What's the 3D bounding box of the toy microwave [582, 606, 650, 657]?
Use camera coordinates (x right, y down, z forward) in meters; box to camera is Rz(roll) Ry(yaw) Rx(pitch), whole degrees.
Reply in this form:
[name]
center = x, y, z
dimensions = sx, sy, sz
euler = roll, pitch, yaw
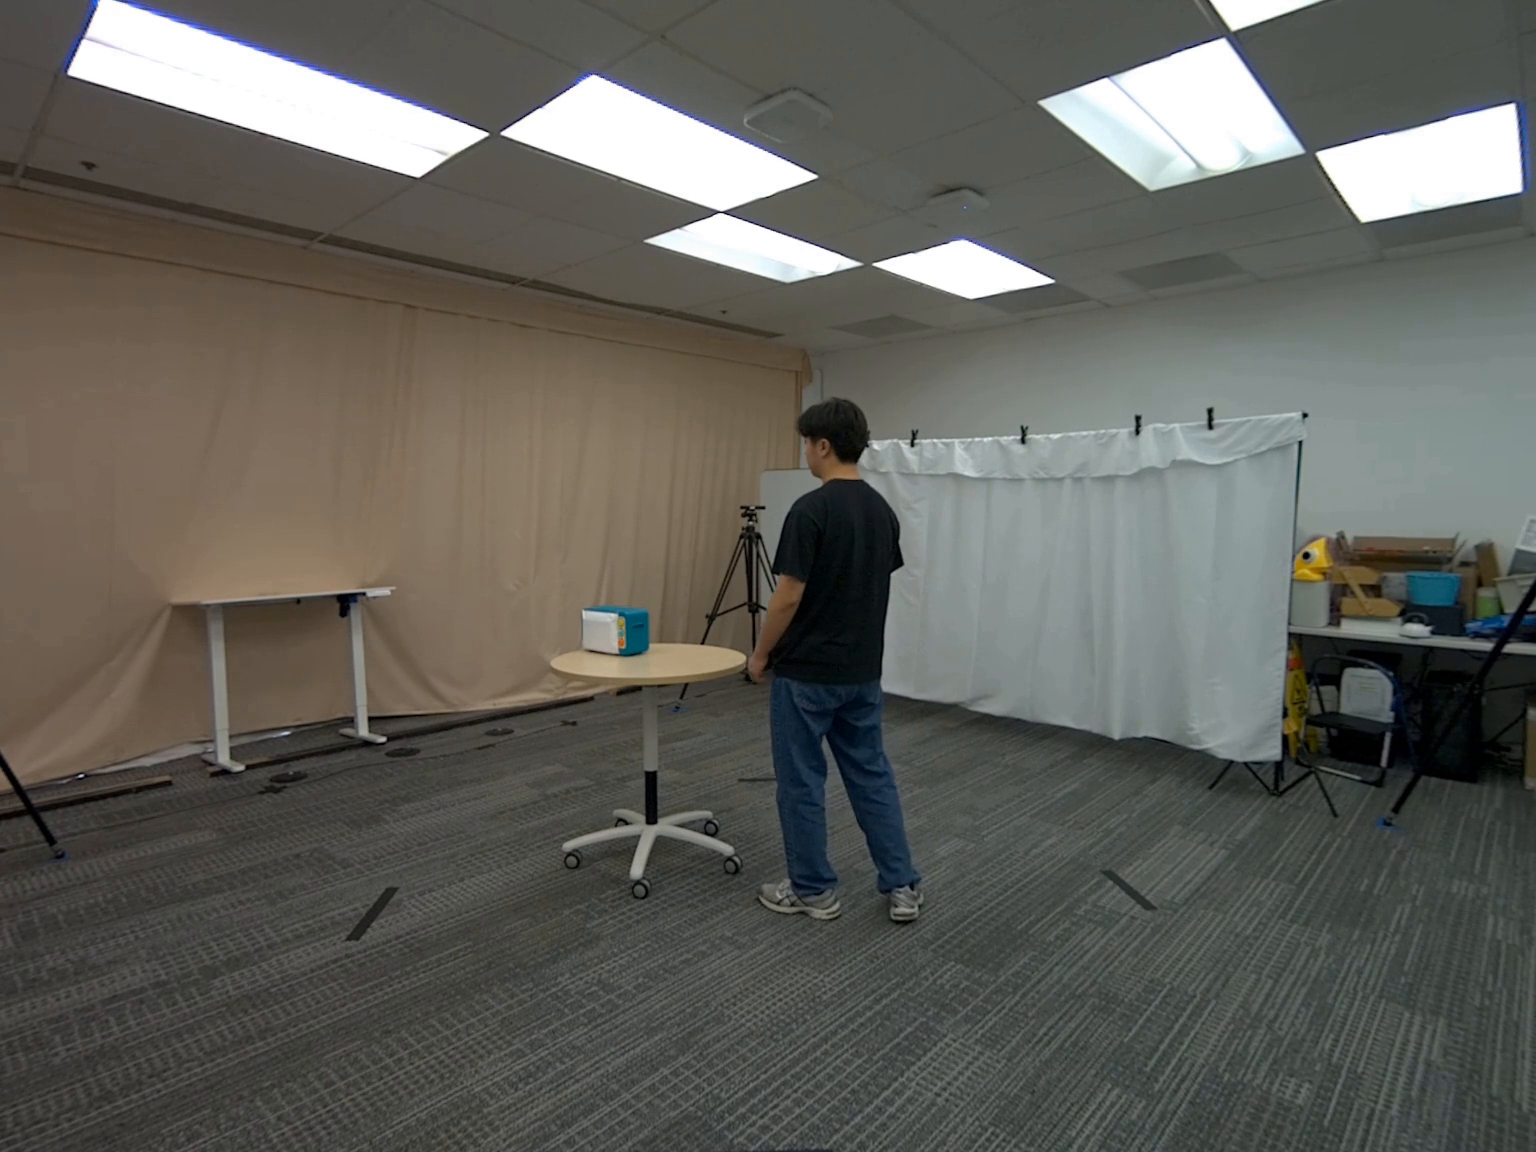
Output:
[toy microwave]
center = -0.640, 0.223, 3.466
dimensions = 0.295, 0.184, 0.148
euler = 2, 5, 38
